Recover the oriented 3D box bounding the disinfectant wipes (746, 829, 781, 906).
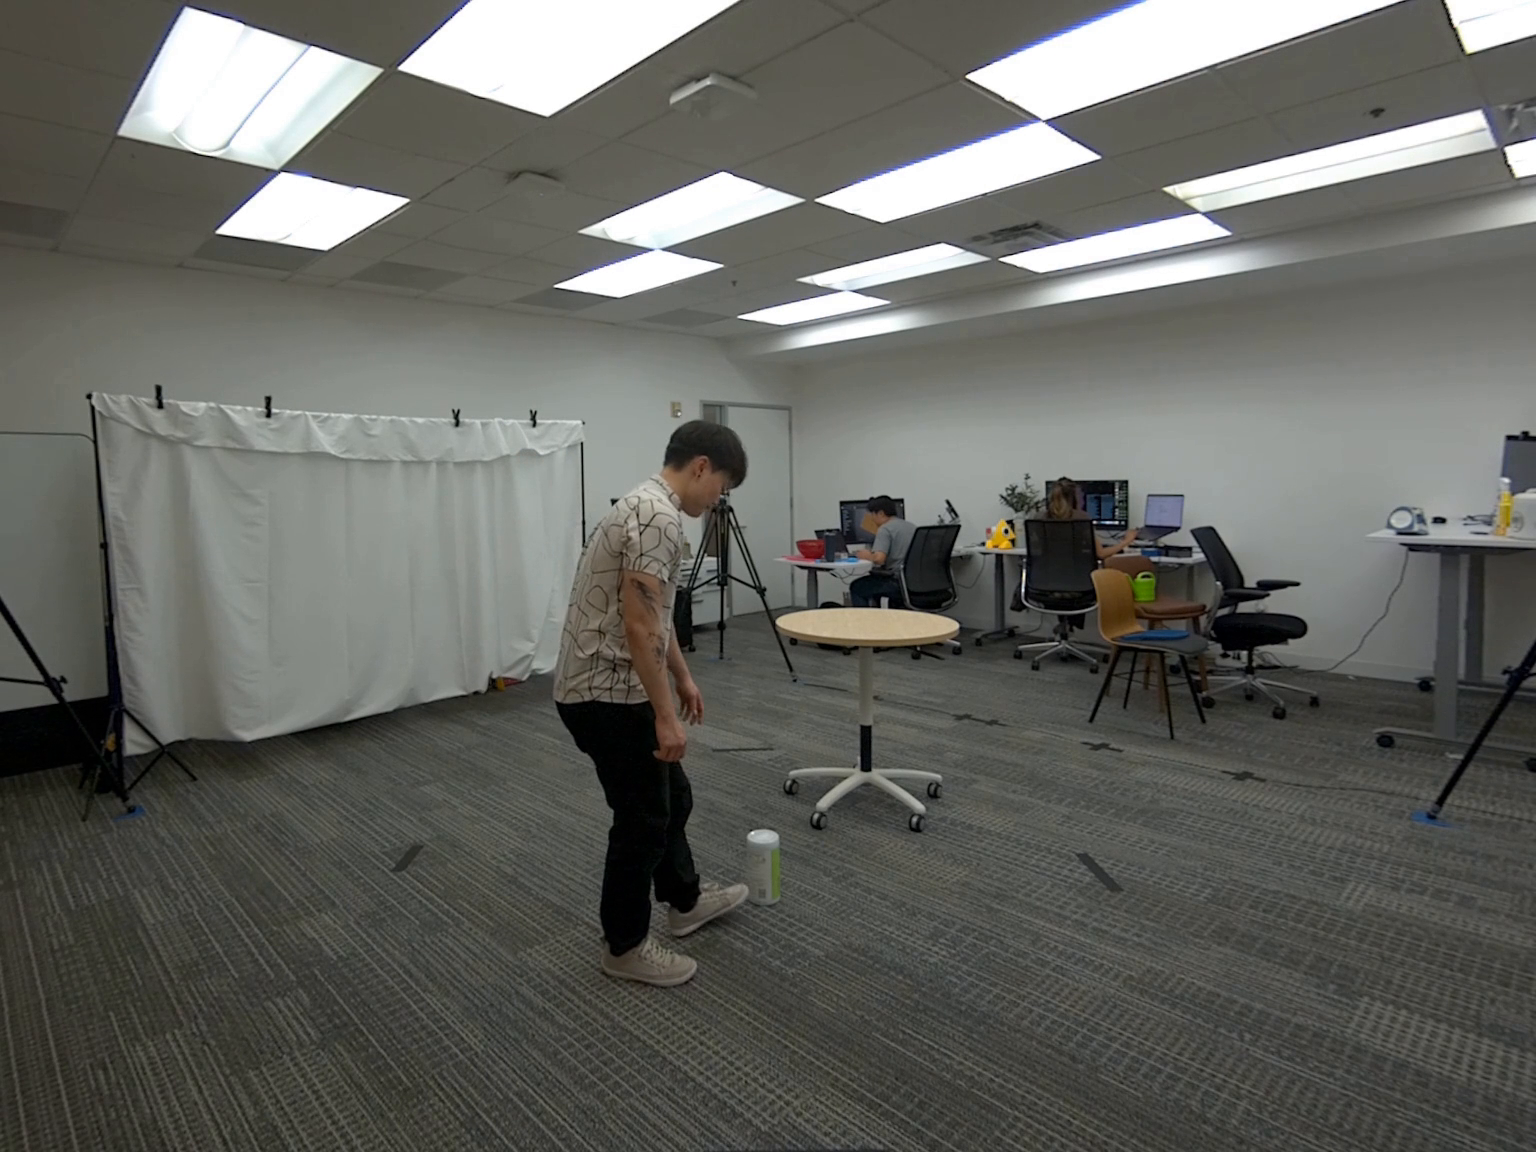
[{"bbox_3d":[-0.010,0.972,2.837,0.118,0.217,0.118,-1,3,-2],"label":"disinfectant wipes"}]
